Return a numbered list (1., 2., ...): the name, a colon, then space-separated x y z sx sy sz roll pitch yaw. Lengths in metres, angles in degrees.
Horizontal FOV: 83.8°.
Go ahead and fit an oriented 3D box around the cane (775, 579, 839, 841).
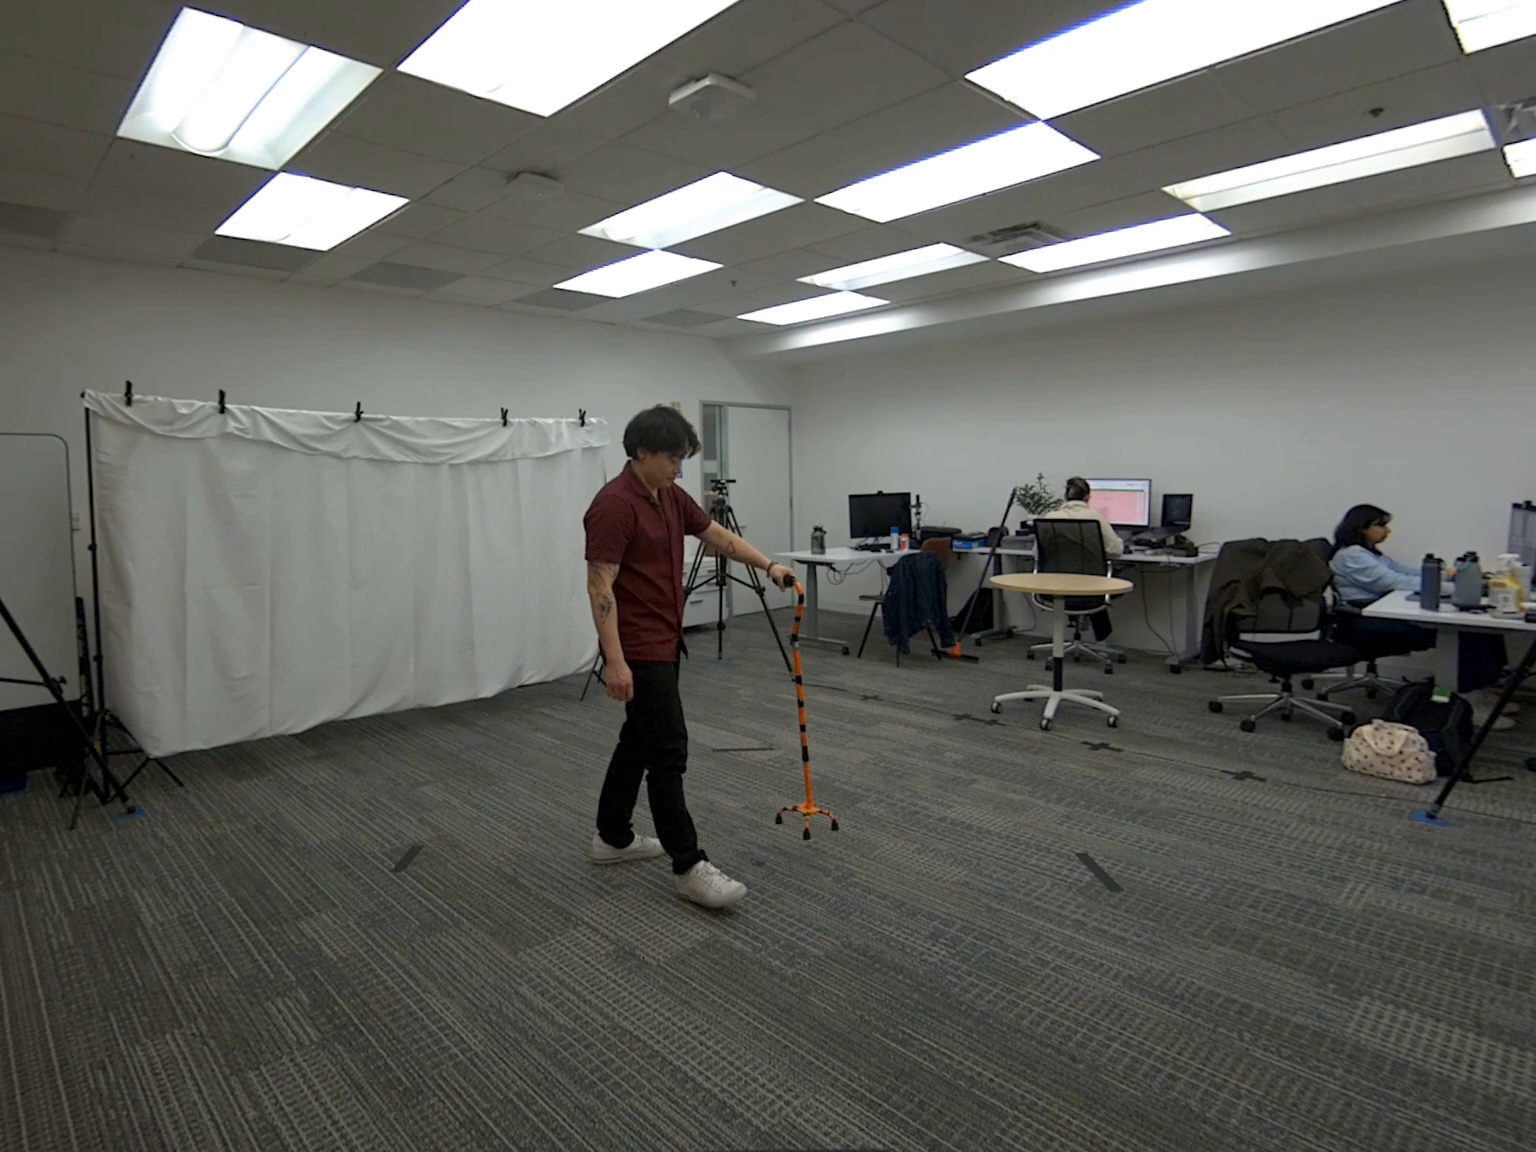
1. cane: 0.109 0.452 3.071 0.148 0.904 0.212 -6 4 -30
